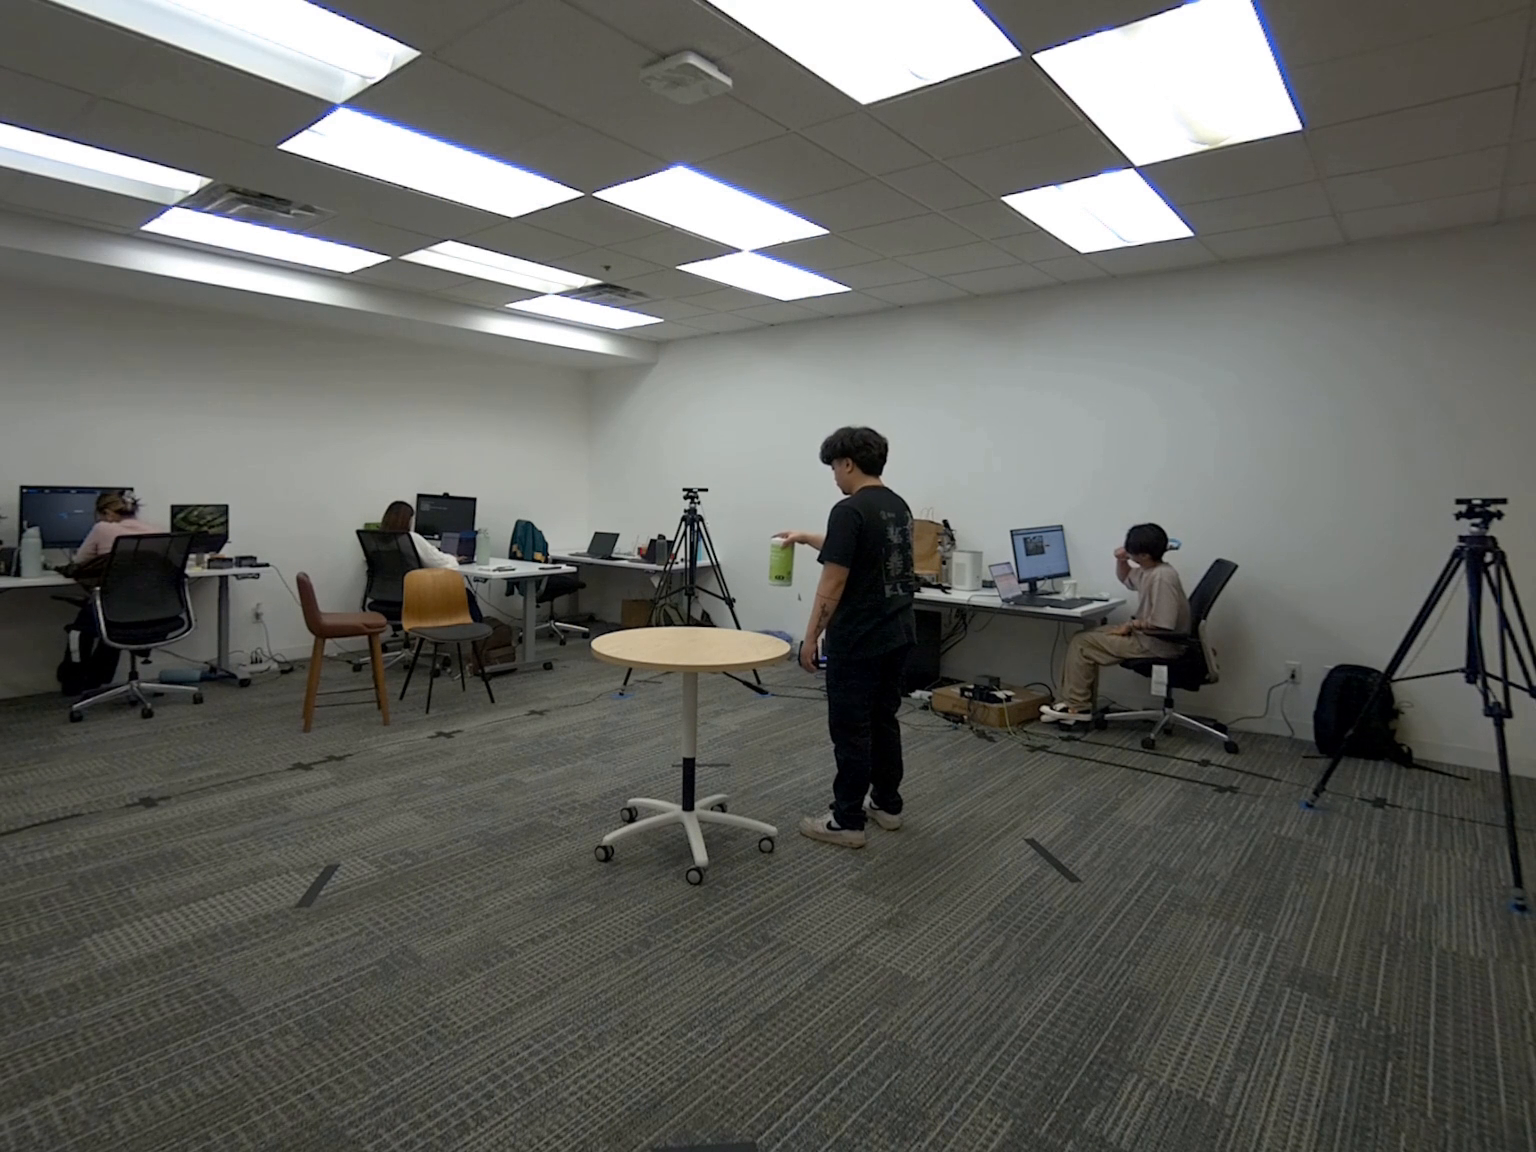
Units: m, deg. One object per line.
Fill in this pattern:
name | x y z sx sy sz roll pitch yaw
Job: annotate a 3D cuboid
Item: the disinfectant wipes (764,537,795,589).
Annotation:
disinfectant wipes | 0.049 -0.064 3.898 0.117 0.216 0.118 4 4 -2
